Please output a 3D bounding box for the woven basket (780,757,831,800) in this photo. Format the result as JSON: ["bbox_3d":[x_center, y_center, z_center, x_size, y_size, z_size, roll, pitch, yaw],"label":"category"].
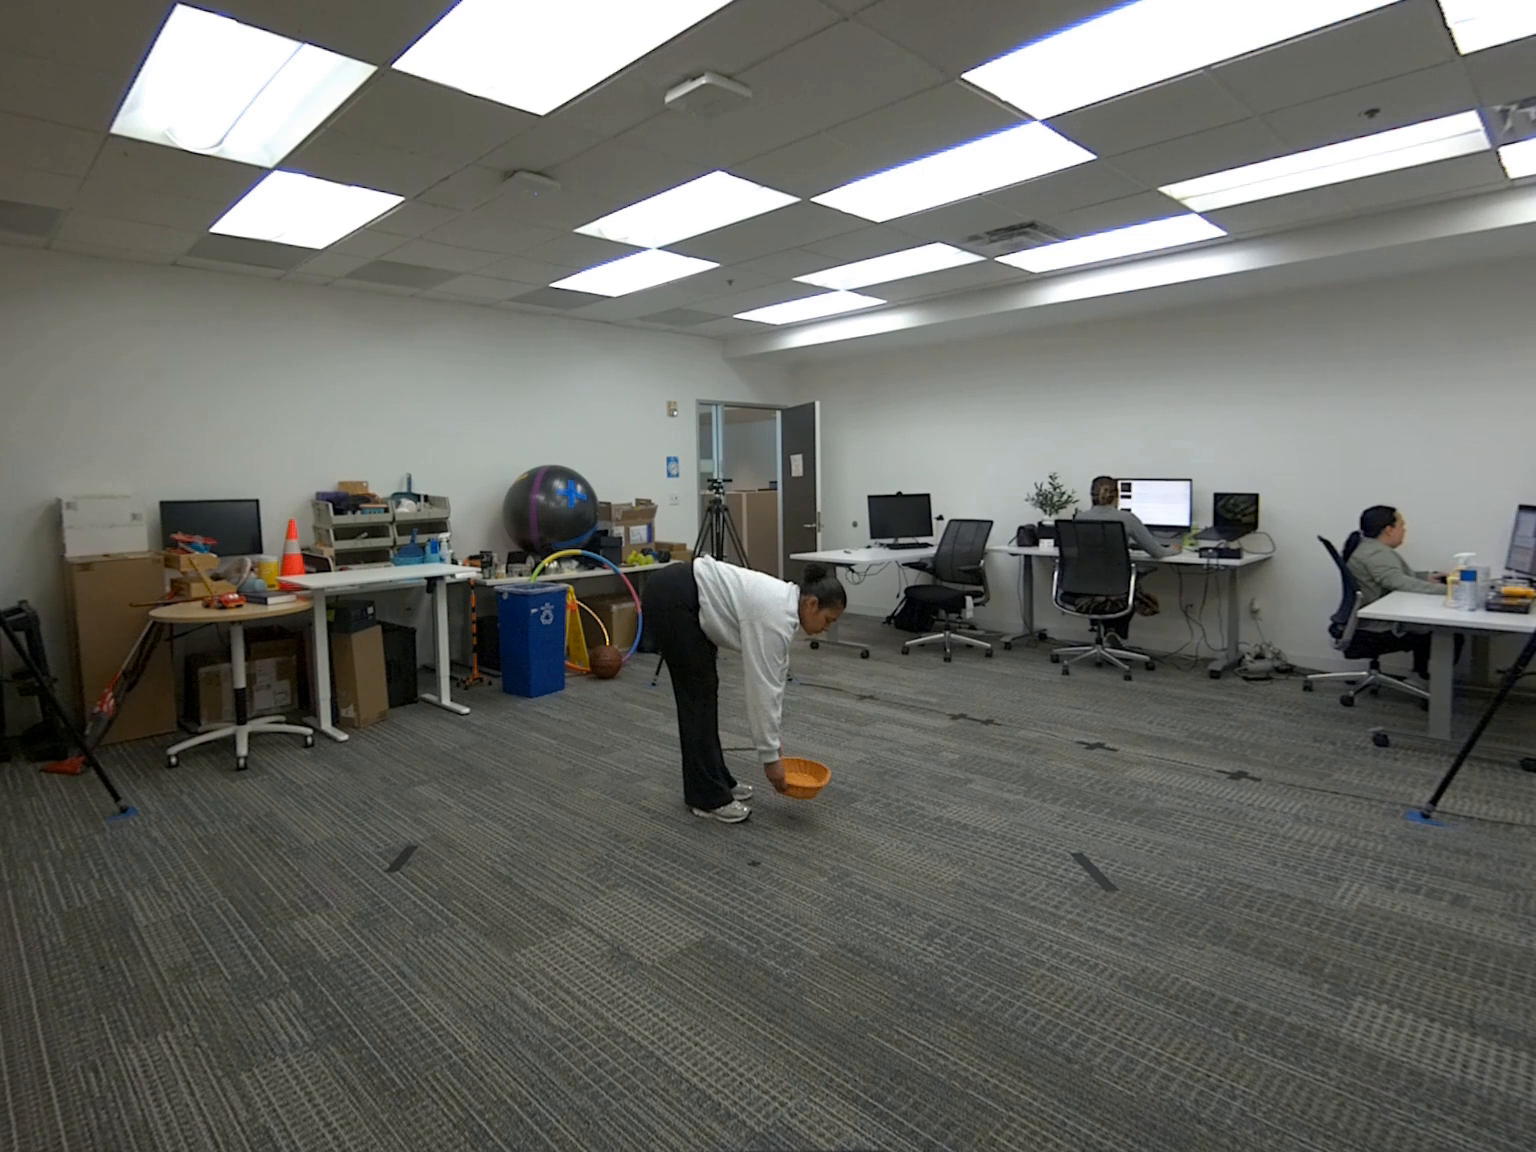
[{"bbox_3d":[0.130,0.837,3.517,0.257,0.073,0.345,10,6,16],"label":"woven basket"}]
